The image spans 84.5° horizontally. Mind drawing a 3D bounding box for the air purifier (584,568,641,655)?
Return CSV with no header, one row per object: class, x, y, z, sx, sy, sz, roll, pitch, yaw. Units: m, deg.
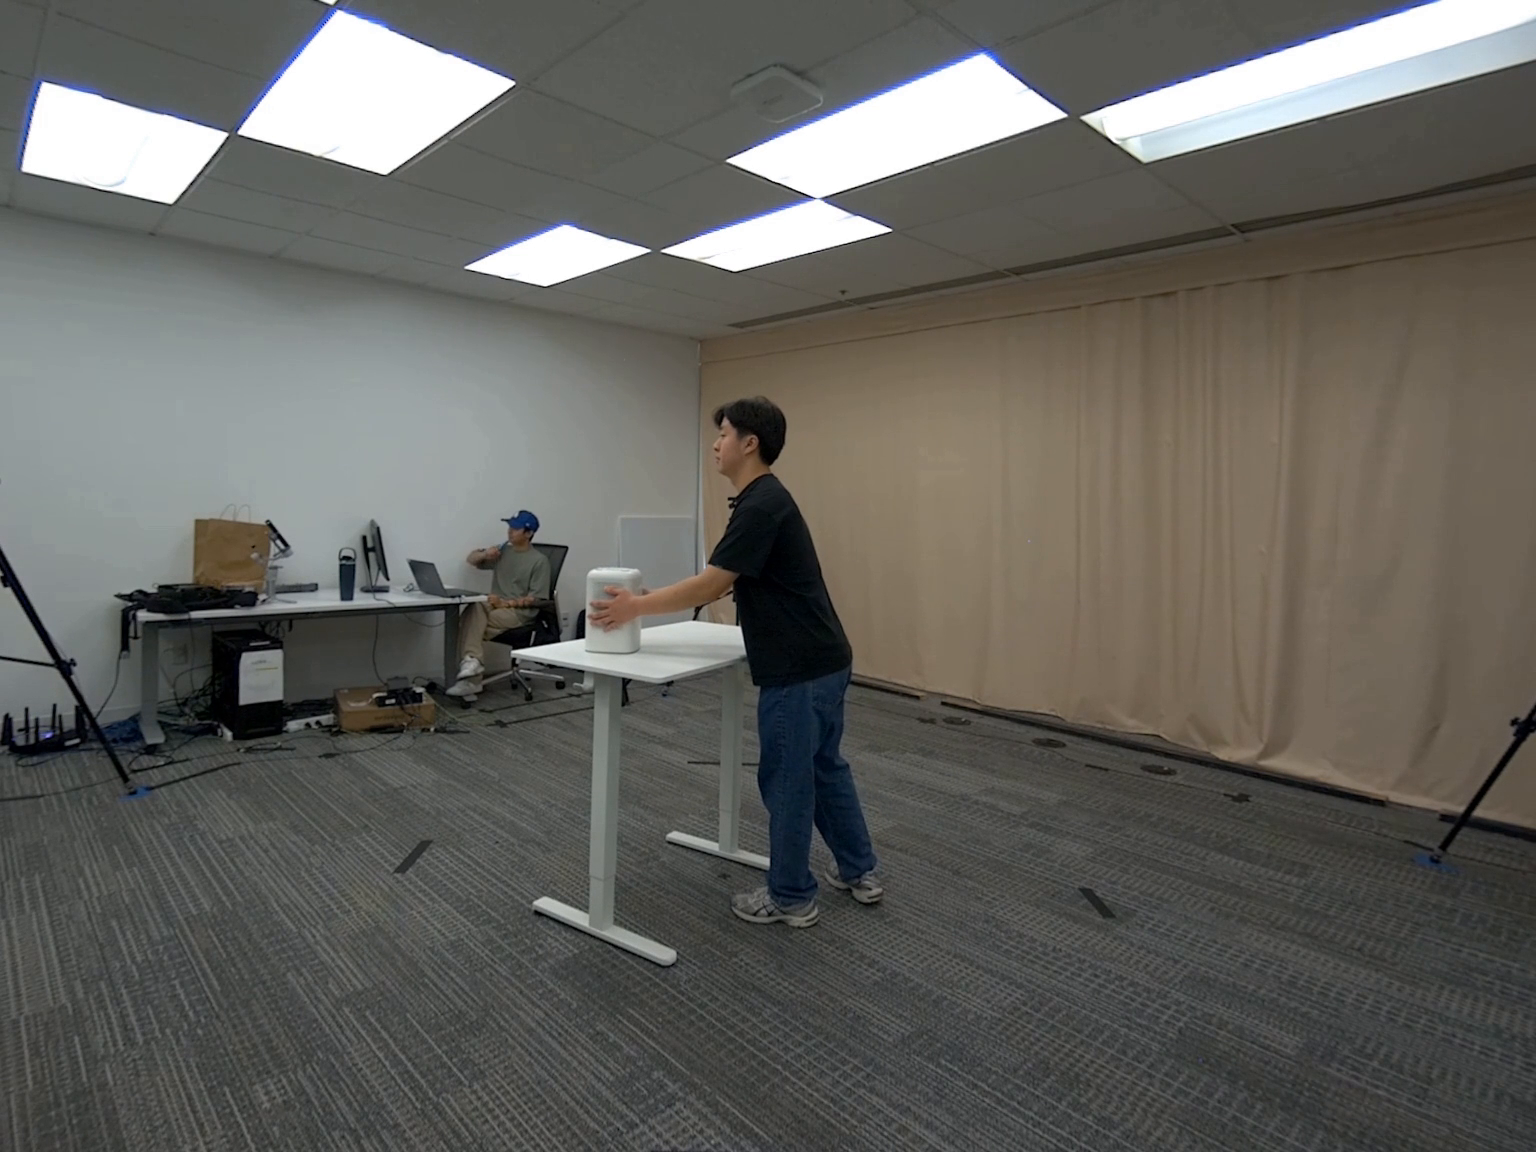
air purifier,-0.503,0.110,2.773,0.172,0.265,0.171,3,3,4
